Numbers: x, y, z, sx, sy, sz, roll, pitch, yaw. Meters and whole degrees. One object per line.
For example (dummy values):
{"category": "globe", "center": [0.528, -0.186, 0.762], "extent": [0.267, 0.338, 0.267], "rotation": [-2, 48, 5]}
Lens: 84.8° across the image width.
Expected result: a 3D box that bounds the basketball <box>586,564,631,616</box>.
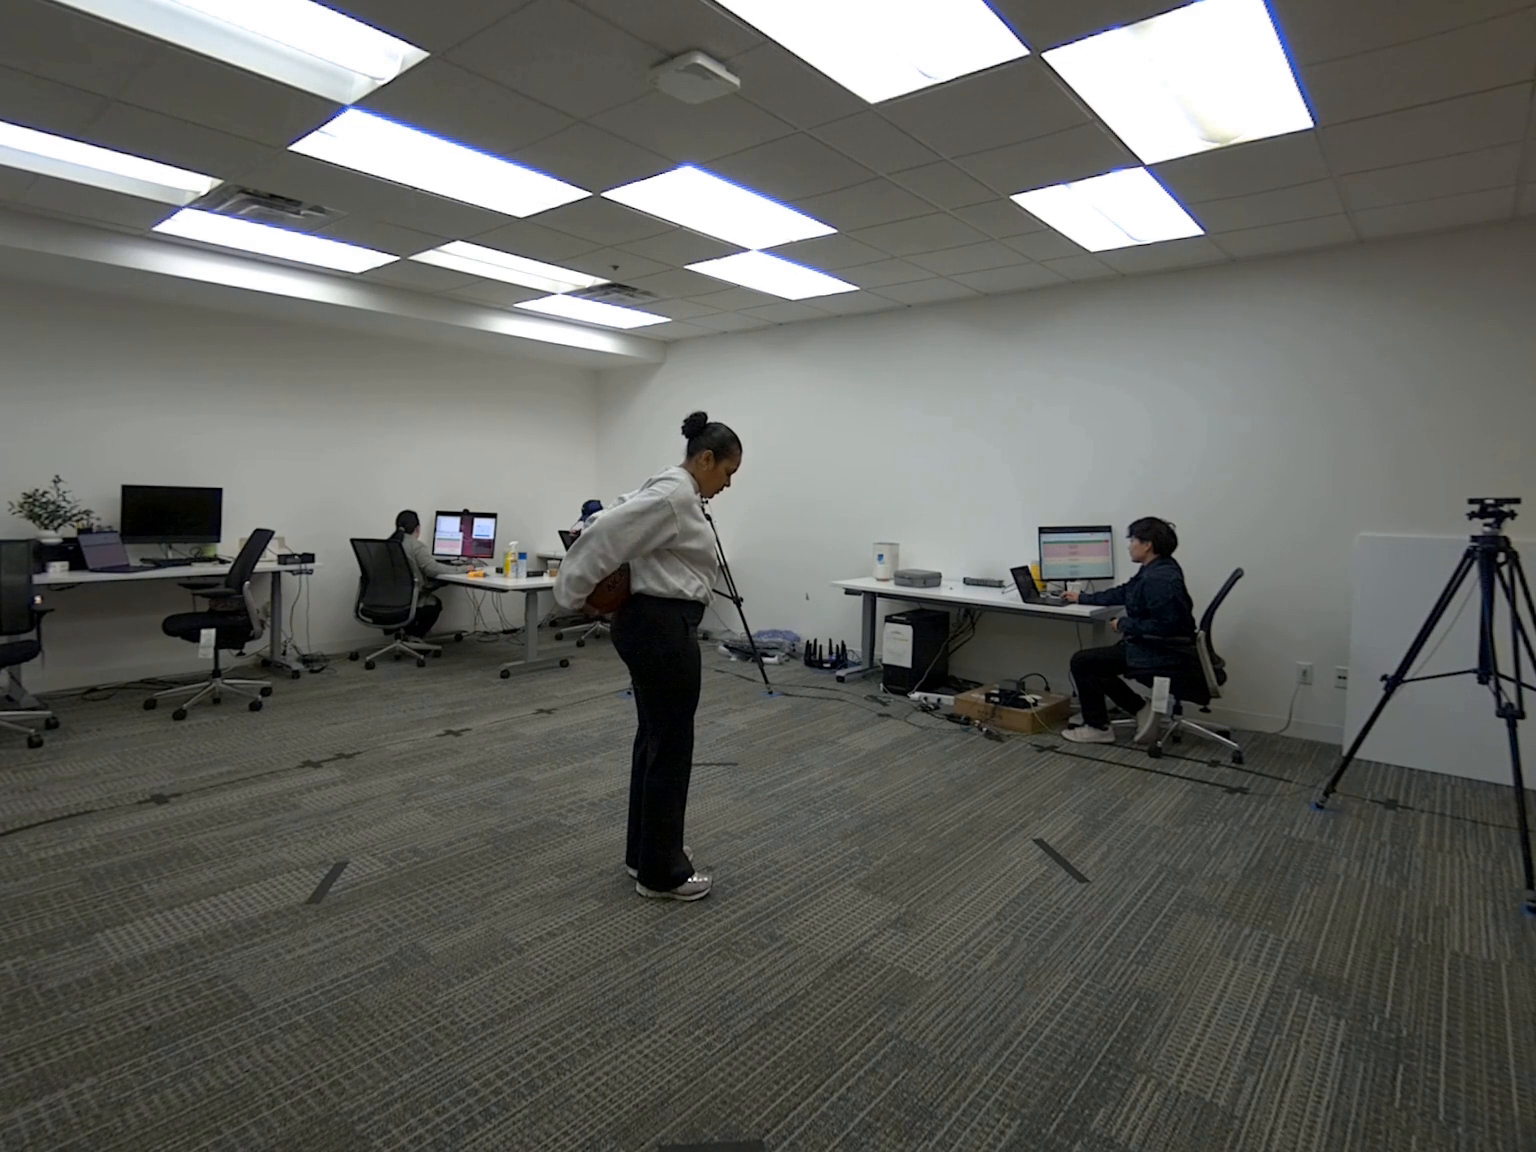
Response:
{"category": "basketball", "center": [-0.567, 0.002, 2.893], "extent": [0.235, 0.235, 0.237], "rotation": [1, 4, -2]}
